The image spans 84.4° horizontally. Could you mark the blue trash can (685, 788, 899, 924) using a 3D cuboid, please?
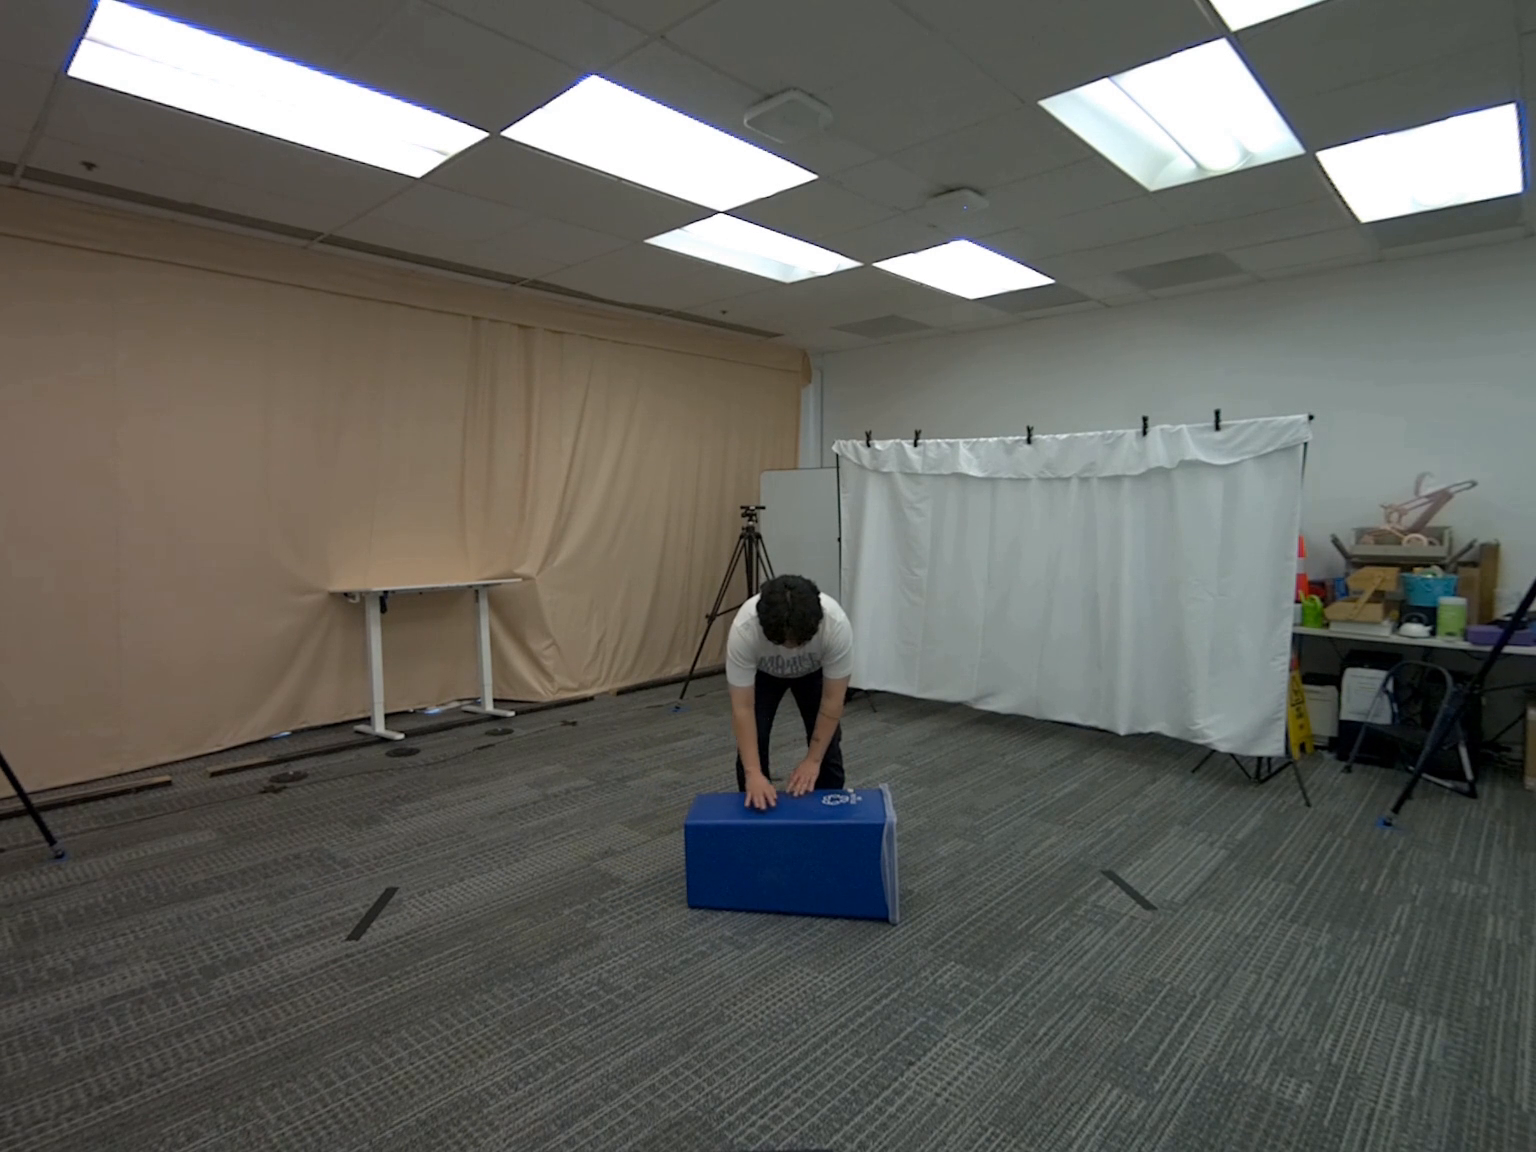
[{"bbox_3d":[0.090,0.973,2.992,0.718,0.377,0.372,-3,4,6],"label":"blue trash can"}]
